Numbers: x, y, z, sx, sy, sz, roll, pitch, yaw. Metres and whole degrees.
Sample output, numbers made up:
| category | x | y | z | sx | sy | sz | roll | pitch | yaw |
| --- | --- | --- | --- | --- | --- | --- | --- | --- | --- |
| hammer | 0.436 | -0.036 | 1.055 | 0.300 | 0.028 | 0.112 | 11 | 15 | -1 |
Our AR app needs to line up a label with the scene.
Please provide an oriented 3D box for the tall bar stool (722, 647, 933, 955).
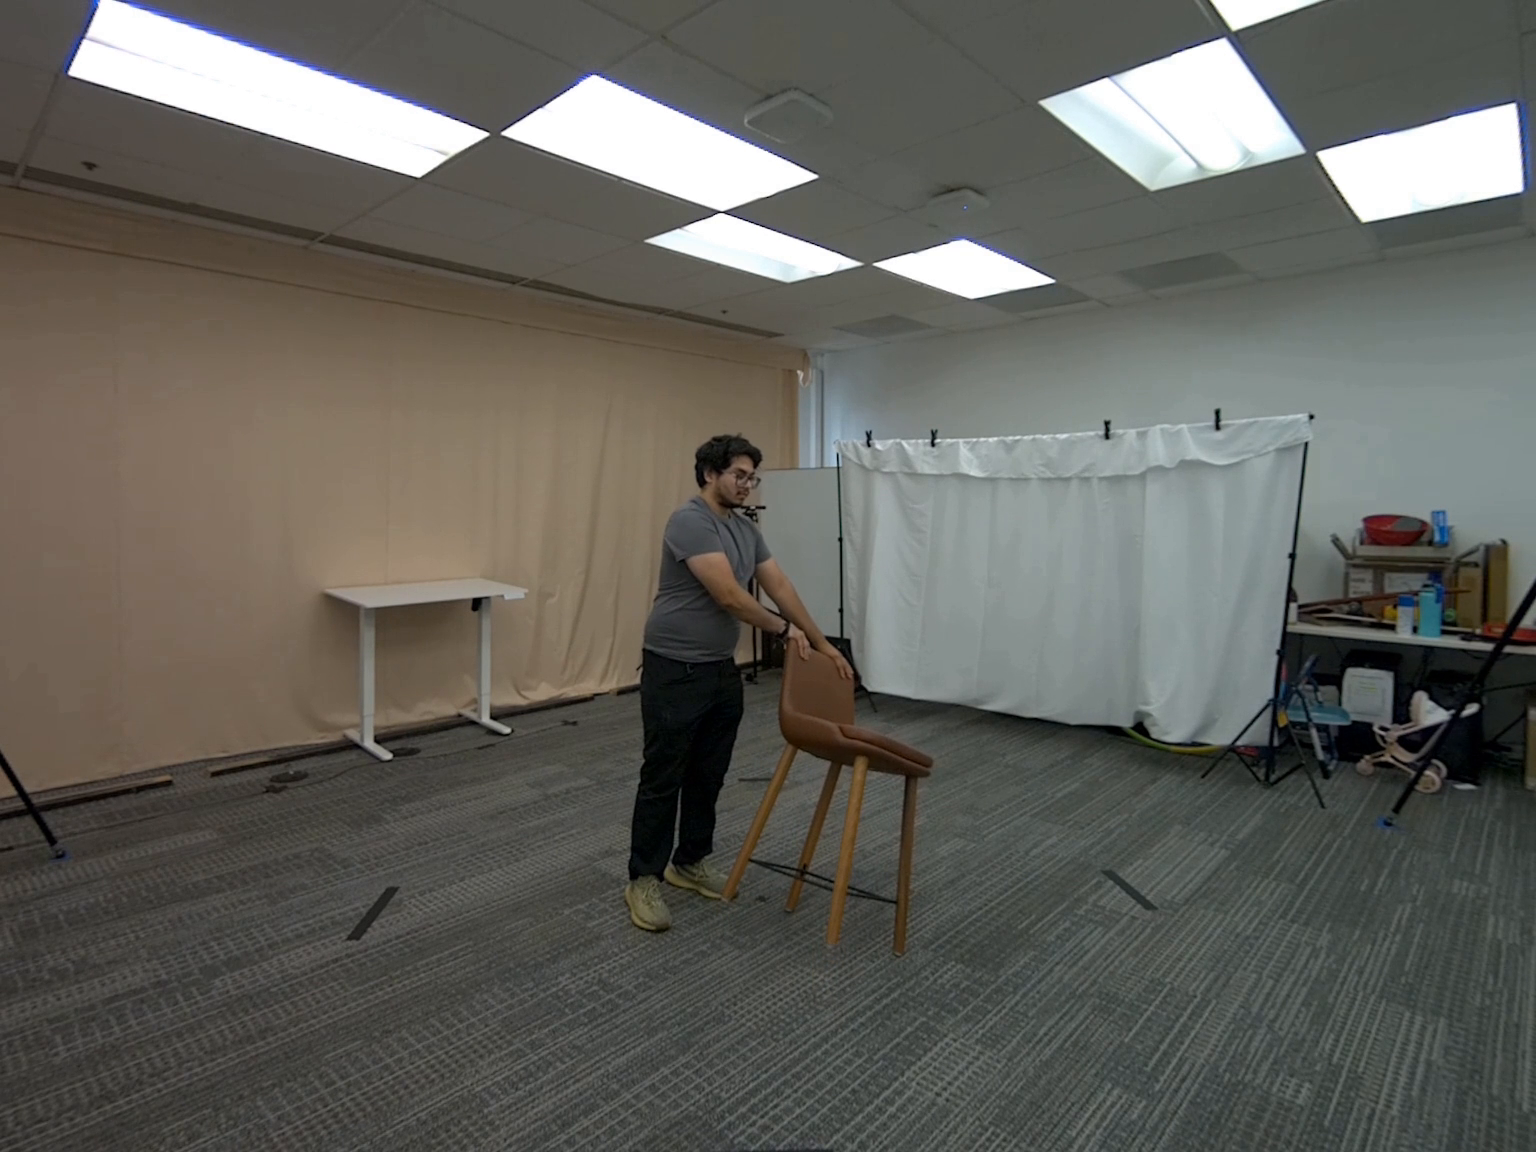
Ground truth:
| category | x | y | z | sx | sy | sz | roll | pitch | yaw |
| --- | --- | --- | --- | --- | --- | --- | --- | --- | --- |
| tall bar stool | 0.245 | 0.692 | 2.745 | 0.482 | 0.894 | 0.440 | -2 | -22 | 42 |
